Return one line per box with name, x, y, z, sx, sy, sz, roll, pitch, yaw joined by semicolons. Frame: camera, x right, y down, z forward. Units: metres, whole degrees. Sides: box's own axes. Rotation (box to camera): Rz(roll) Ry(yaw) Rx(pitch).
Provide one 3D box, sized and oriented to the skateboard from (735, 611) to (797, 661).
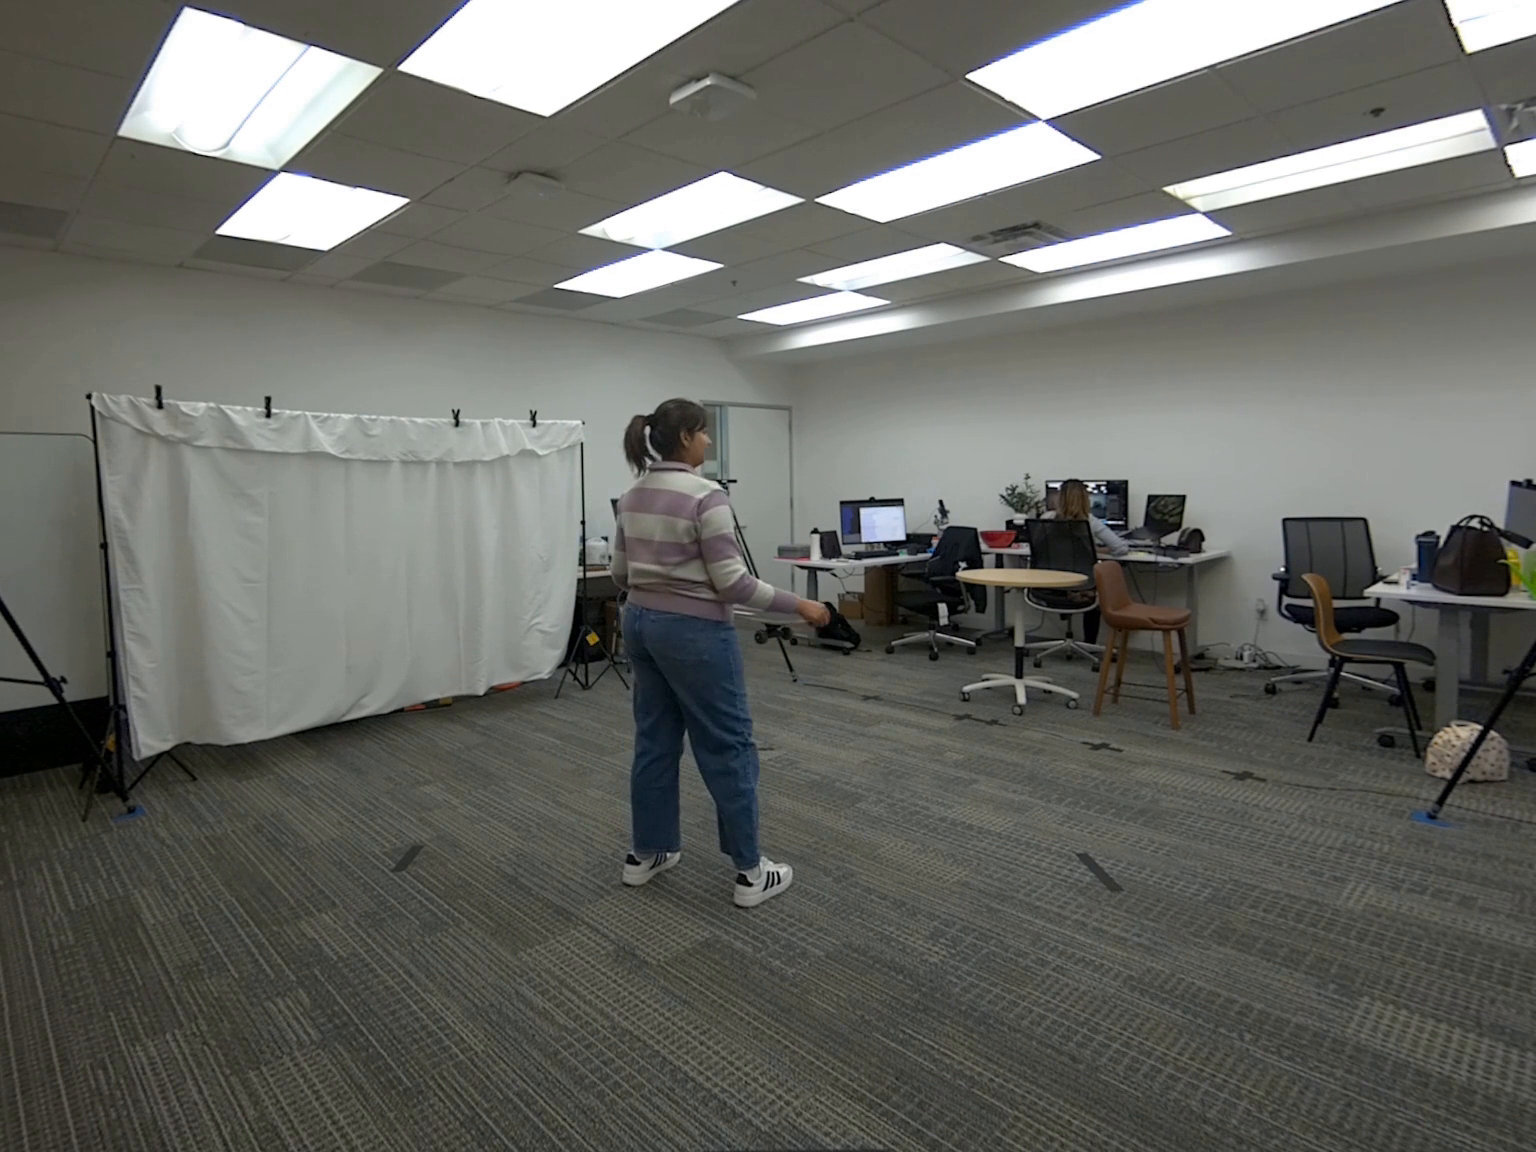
skateboard;-0.119;0.160;3.144;0.810;0.110;0.188;7;4;39
